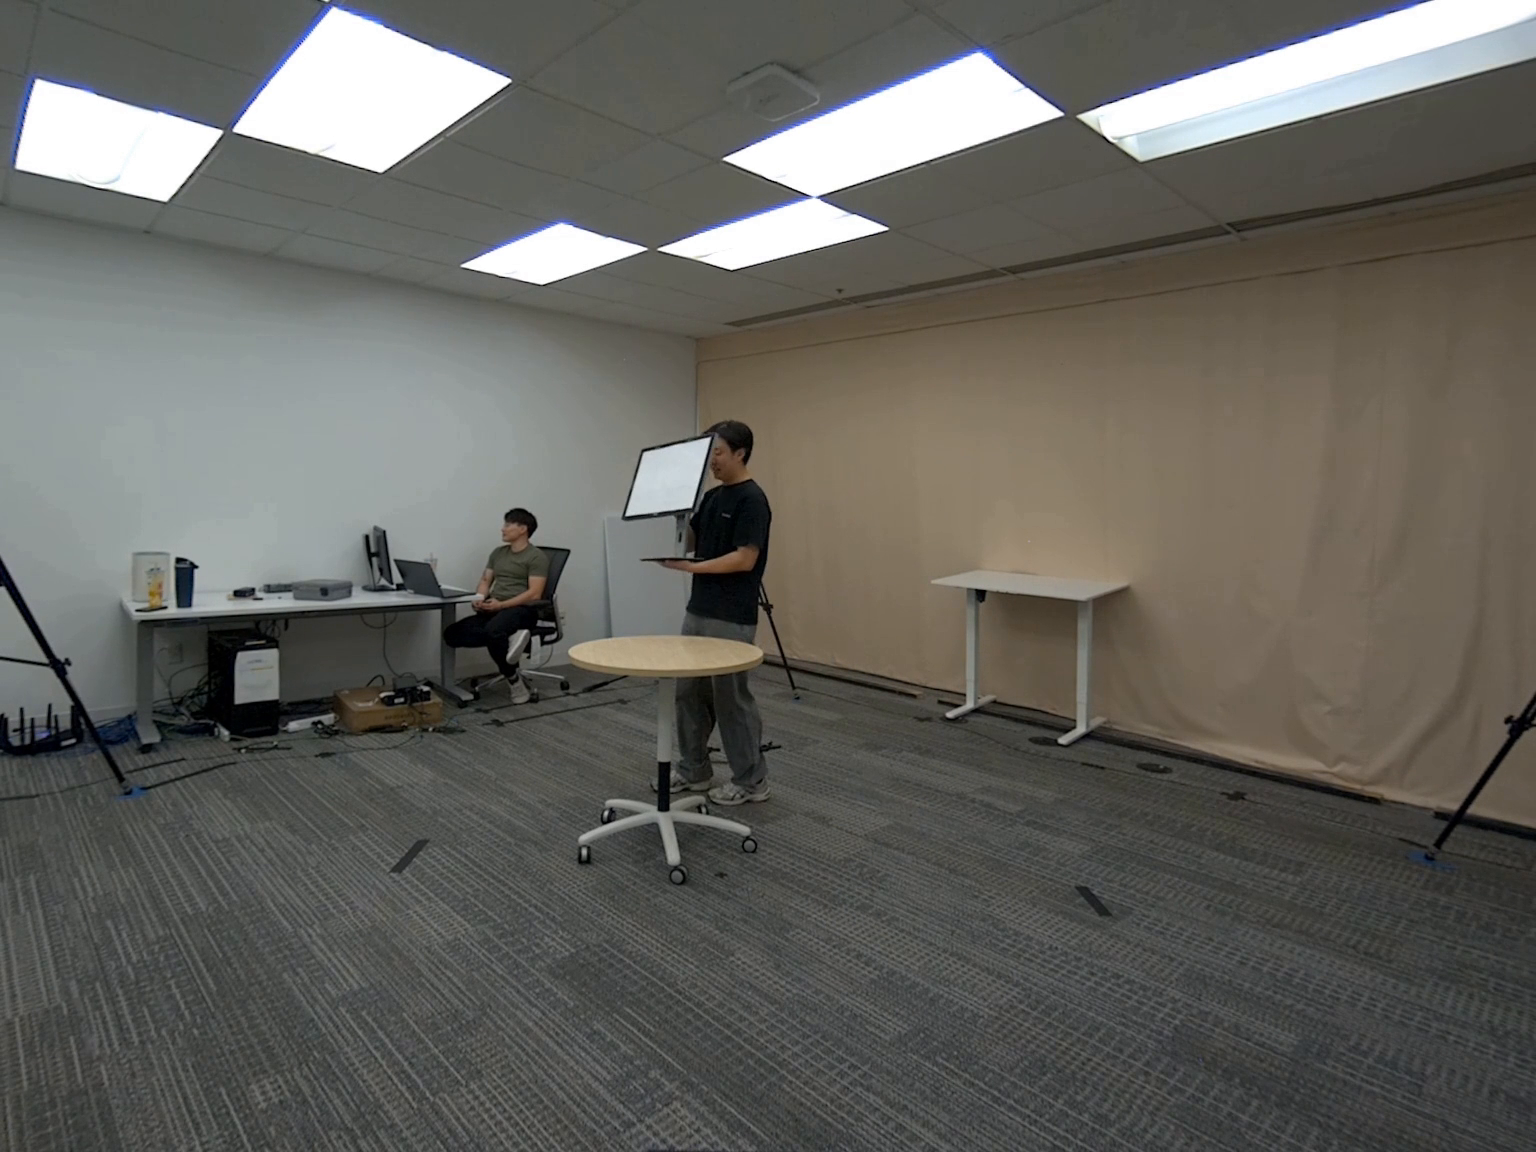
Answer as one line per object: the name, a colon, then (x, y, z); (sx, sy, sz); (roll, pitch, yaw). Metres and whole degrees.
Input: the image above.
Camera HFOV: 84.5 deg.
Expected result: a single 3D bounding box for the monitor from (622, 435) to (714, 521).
monitor: (-0.427, -0.325, 3.774); (0.217, 0.568, 0.573); (4, -5, -38)
